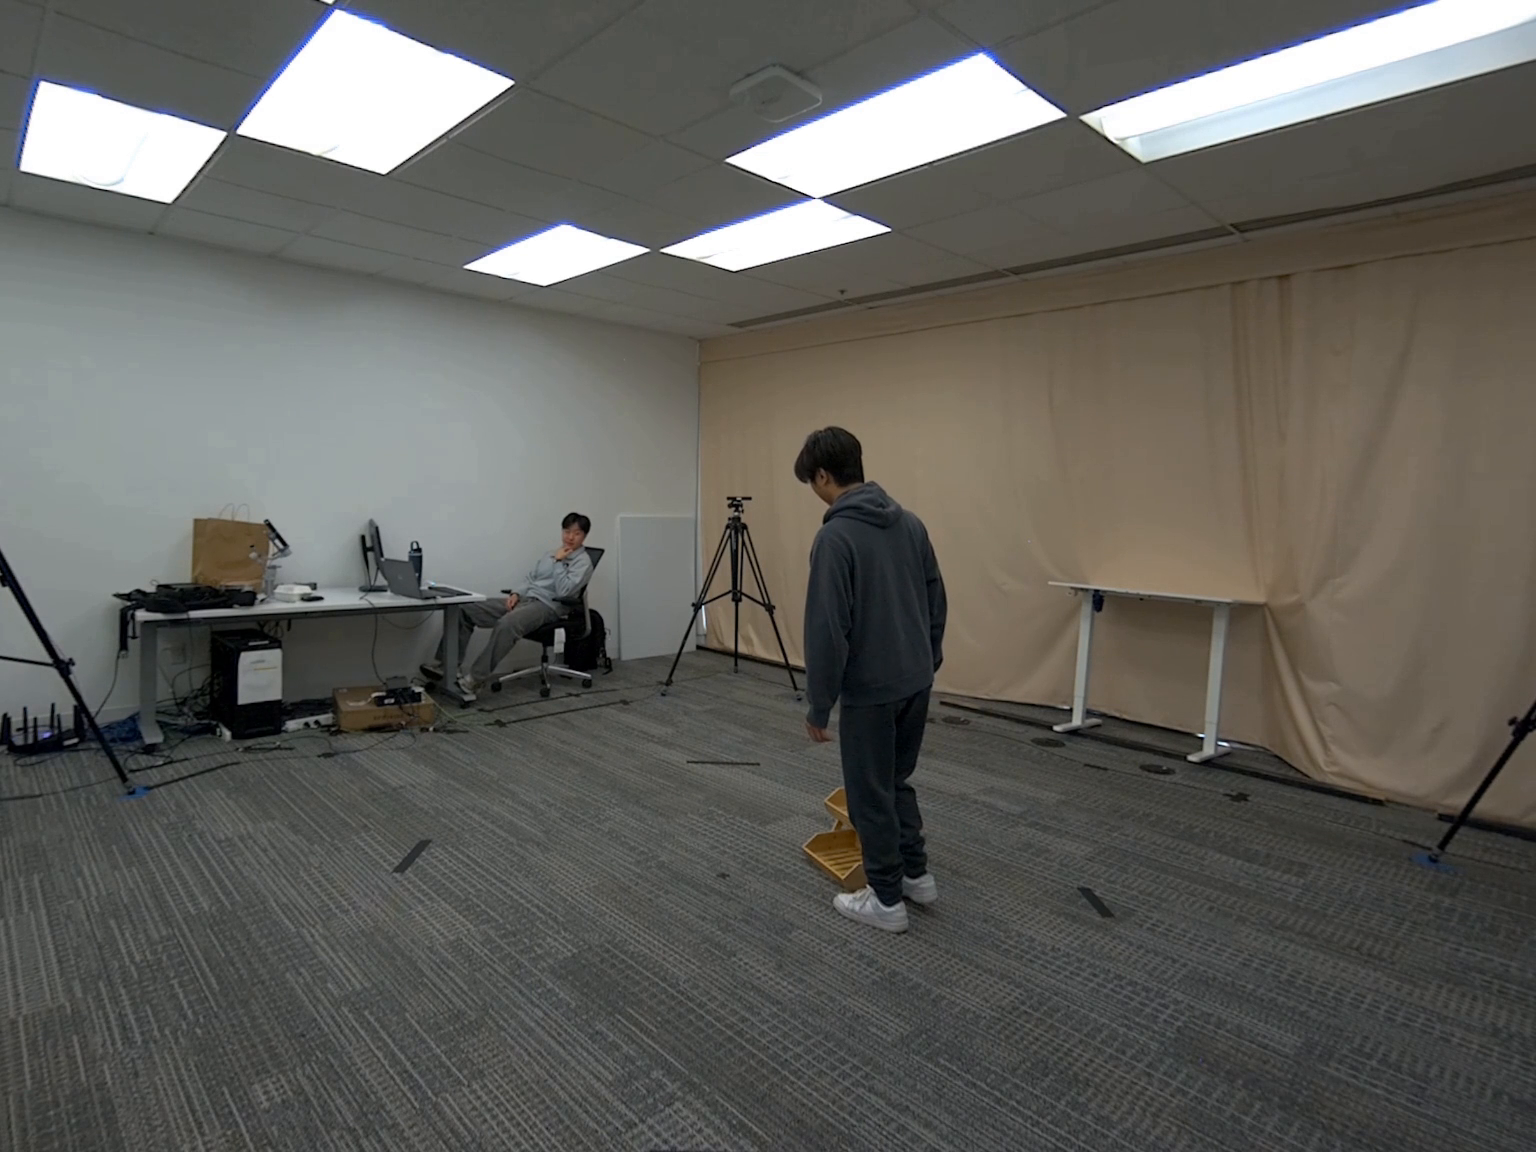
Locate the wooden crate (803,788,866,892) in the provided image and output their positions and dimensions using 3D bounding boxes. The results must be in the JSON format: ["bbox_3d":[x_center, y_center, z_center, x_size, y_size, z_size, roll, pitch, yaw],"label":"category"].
[{"bbox_3d":[0.326,0.972,3.181,0.296,0.273,0.331,1,4,-26],"label":"wooden crate"}]
